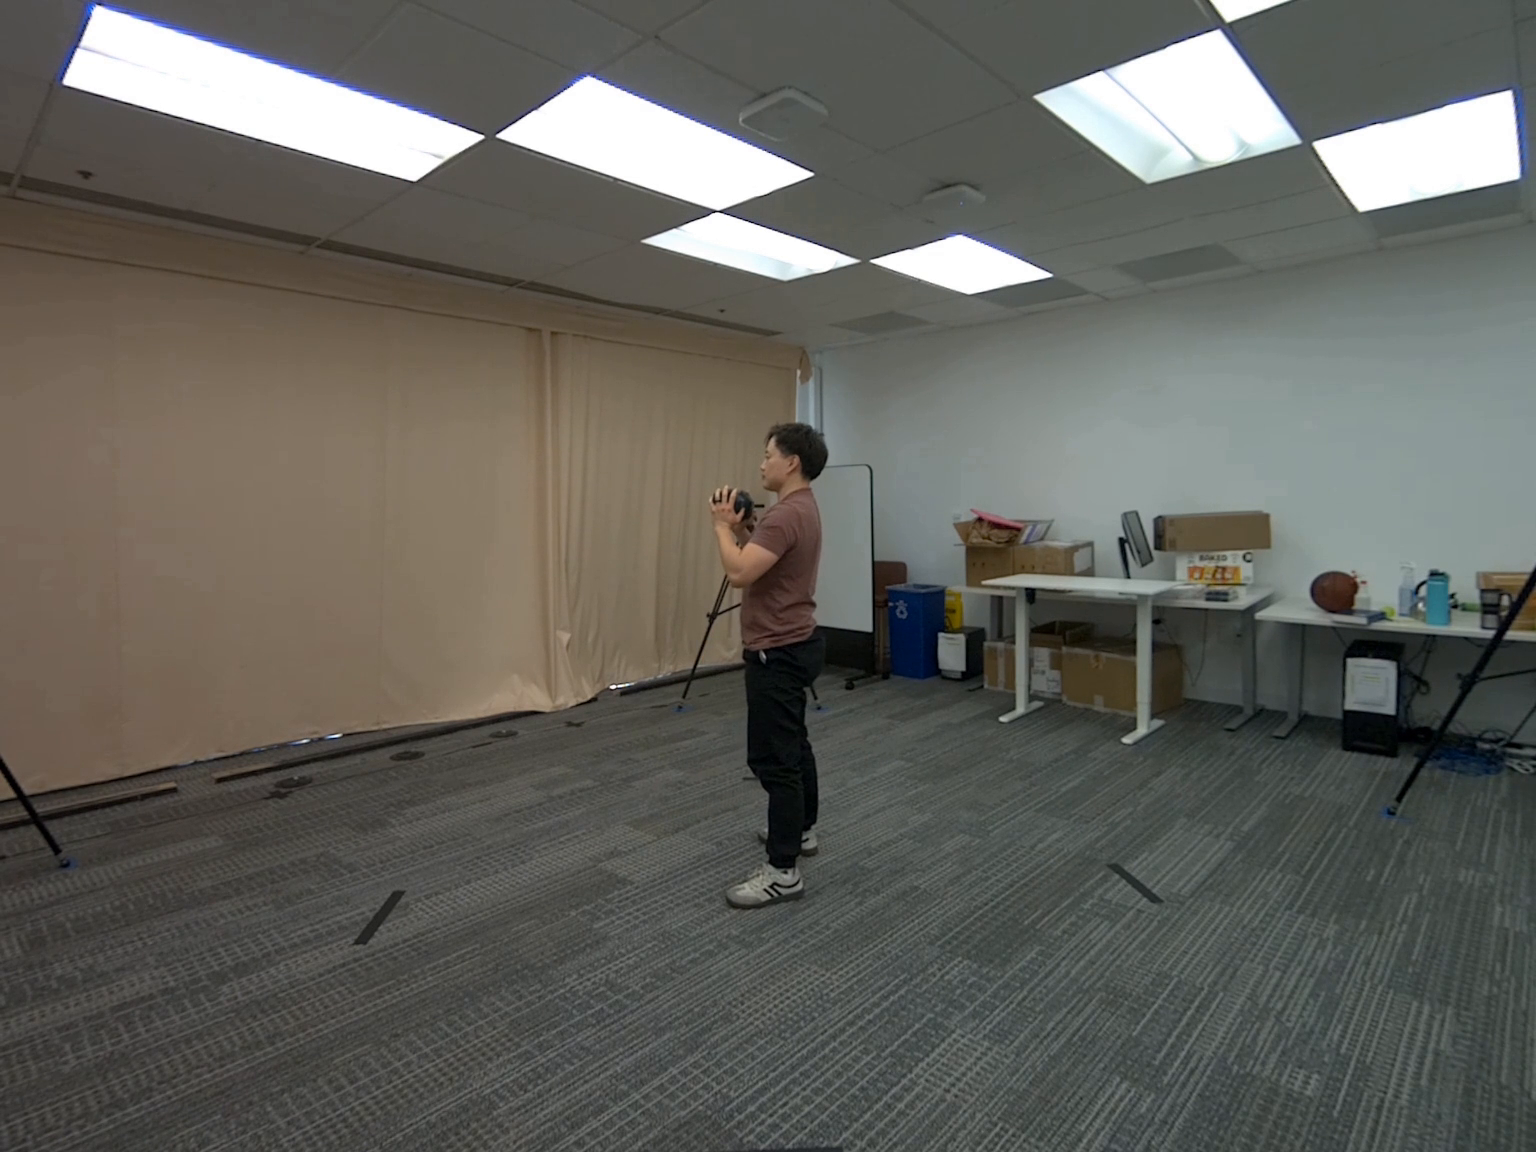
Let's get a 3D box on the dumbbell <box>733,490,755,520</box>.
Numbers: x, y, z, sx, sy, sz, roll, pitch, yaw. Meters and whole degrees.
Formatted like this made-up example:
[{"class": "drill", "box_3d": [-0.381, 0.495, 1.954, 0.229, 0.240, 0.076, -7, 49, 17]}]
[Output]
[{"class": "dumbbell", "box_3d": [-0.105, -0.263, 3.191, 0.123, 0.108, 0.294, 7, 4, -1]}]
